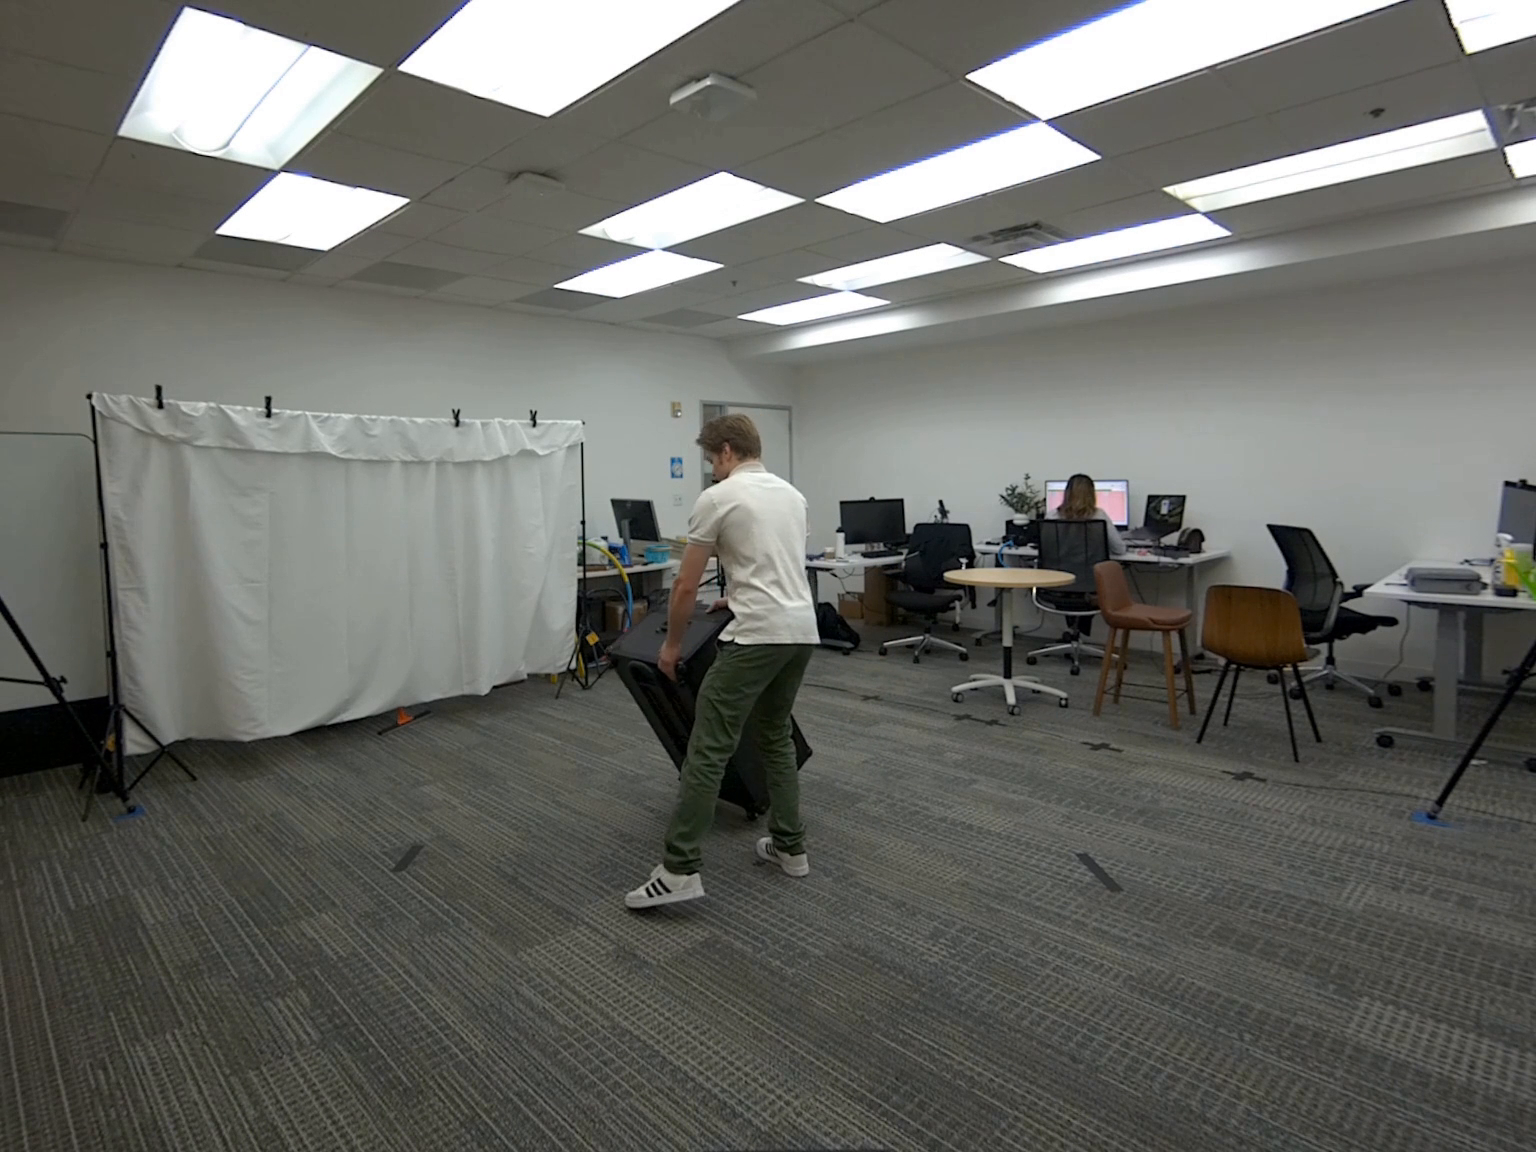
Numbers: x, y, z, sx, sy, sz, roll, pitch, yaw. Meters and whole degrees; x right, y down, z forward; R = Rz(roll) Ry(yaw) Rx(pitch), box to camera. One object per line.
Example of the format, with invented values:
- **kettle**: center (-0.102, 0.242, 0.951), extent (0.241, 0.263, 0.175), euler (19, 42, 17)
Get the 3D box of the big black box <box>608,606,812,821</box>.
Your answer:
- **big black box**: center (-0.224, 0.560, 3.535), extent (0.539, 0.845, 0.384), euler (3, 37, 46)
